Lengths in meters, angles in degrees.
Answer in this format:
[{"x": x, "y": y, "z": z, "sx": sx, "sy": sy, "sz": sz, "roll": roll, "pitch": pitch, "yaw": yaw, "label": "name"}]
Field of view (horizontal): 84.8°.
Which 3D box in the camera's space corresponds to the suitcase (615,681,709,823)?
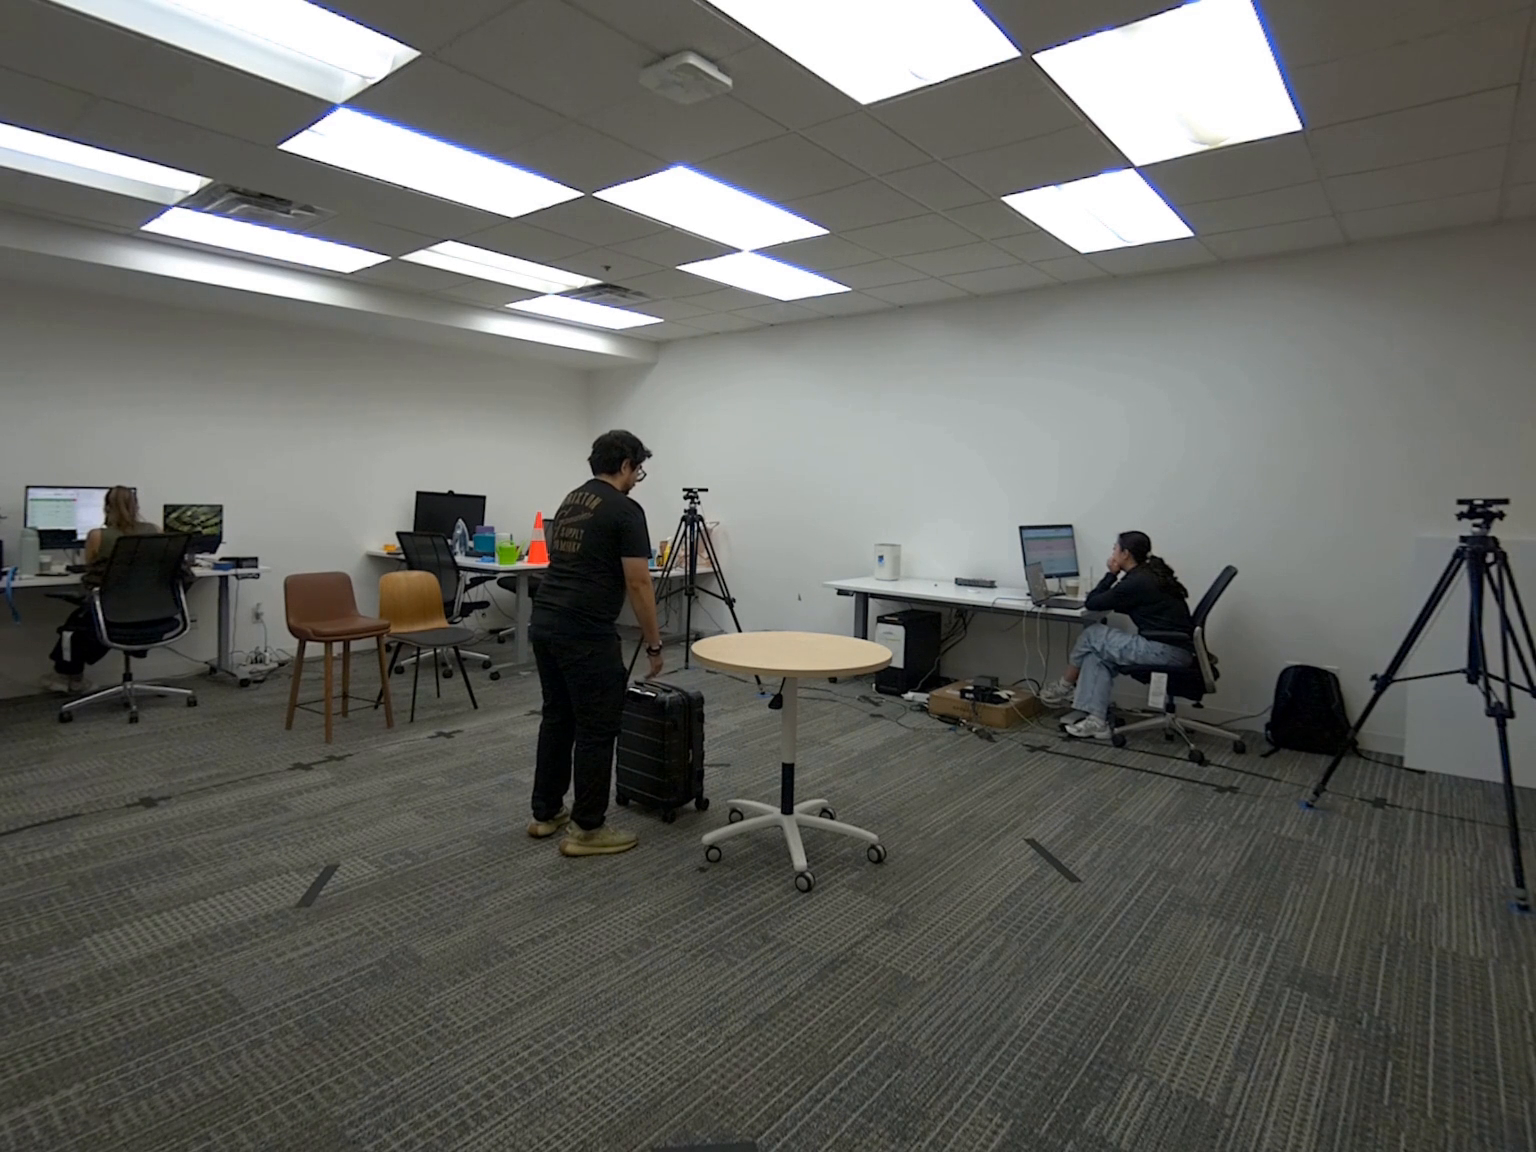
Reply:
[{"x": -0.480, "y": 0.732, "z": 3.702, "sx": 0.388, "sy": 0.547, "sz": 0.241, "roll": 4, "pitch": 5, "yaw": 41, "label": "suitcase"}]
